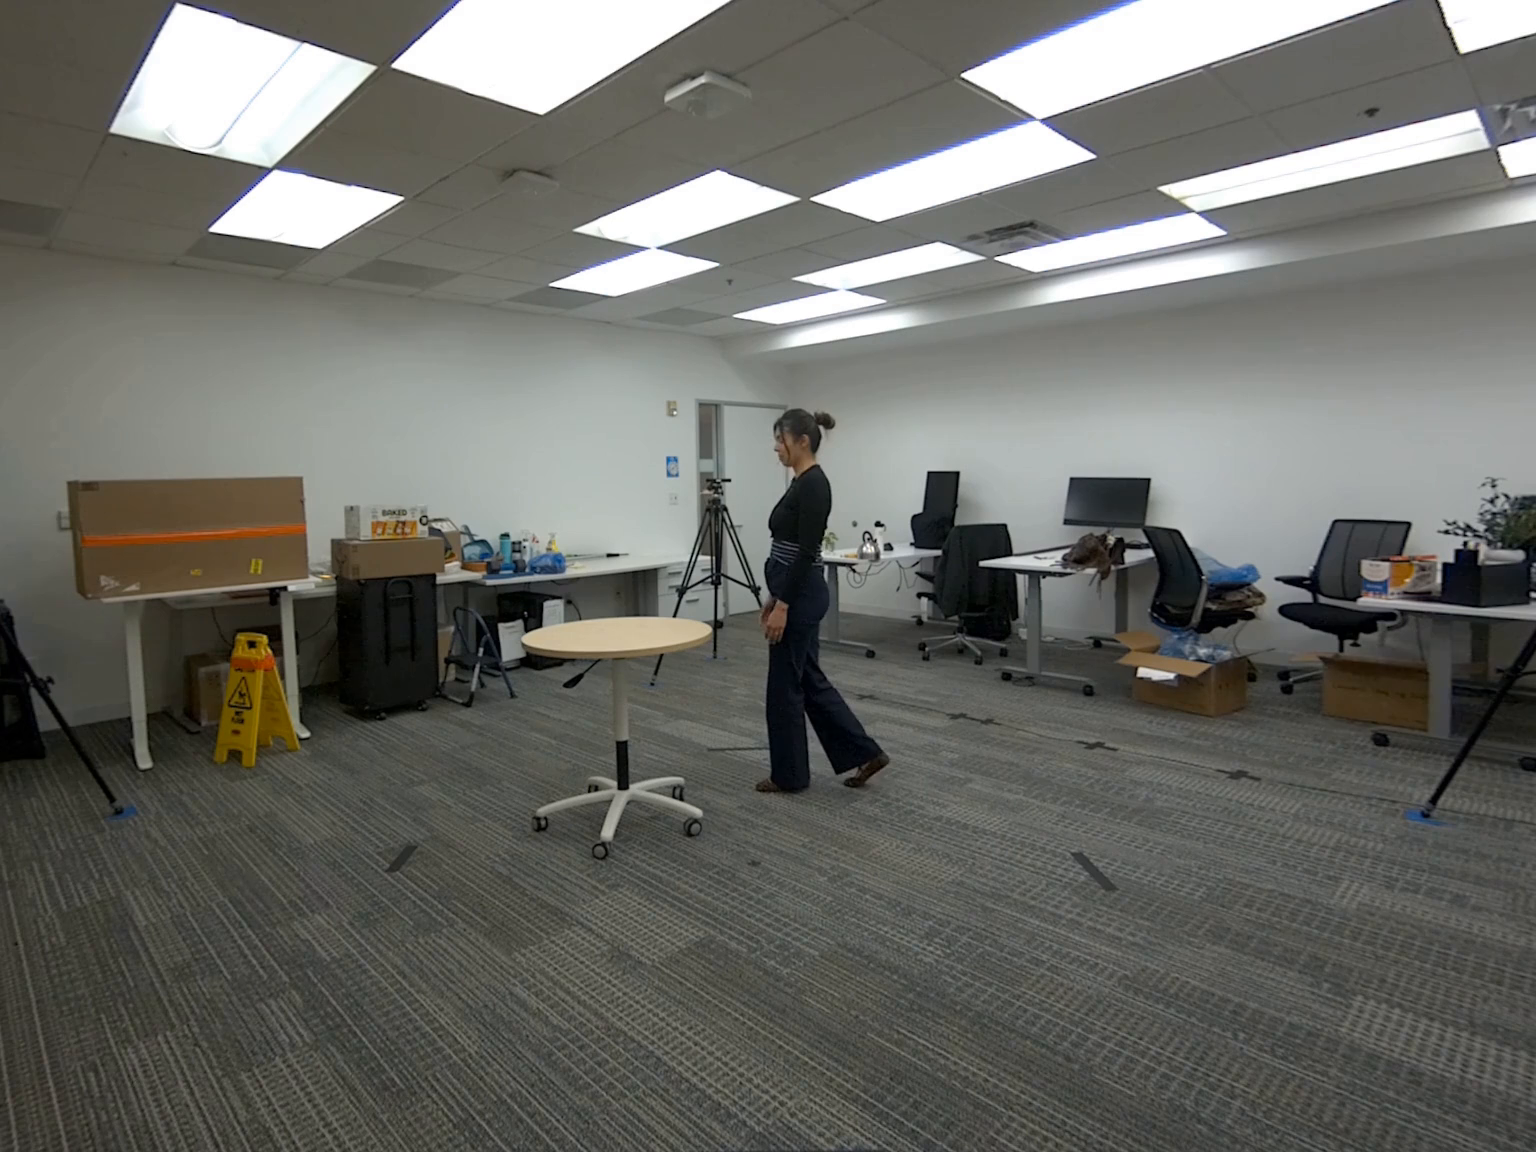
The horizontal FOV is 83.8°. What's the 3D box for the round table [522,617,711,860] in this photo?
[{"bbox_3d":[-0.594,0.622,3.482,0.763,0.791,0.768,-2,5,-2],"label":"round table"}]
